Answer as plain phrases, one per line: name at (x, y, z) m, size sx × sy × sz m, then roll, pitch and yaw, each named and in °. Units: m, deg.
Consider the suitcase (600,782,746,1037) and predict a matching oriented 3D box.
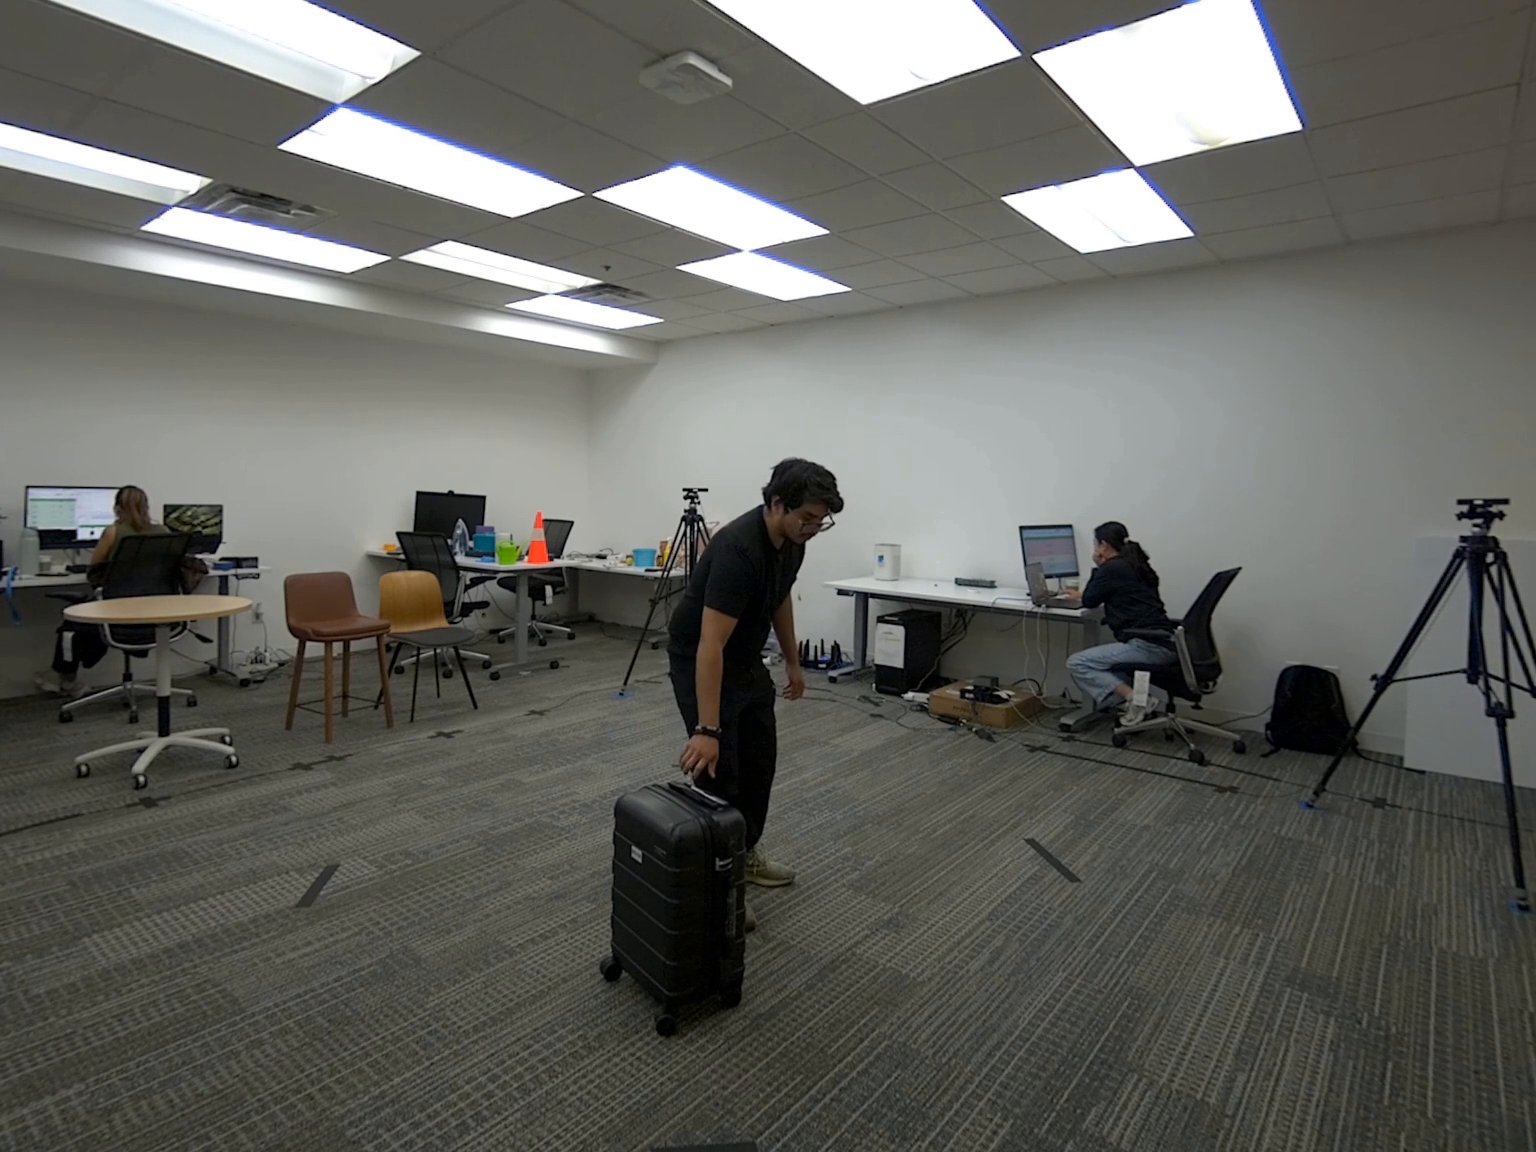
suitcase at (-0.262, 0.874, 2.339) m, size 0.241 × 0.548 × 0.388 m, roll 0°, pitch 4°, yaw -39°
